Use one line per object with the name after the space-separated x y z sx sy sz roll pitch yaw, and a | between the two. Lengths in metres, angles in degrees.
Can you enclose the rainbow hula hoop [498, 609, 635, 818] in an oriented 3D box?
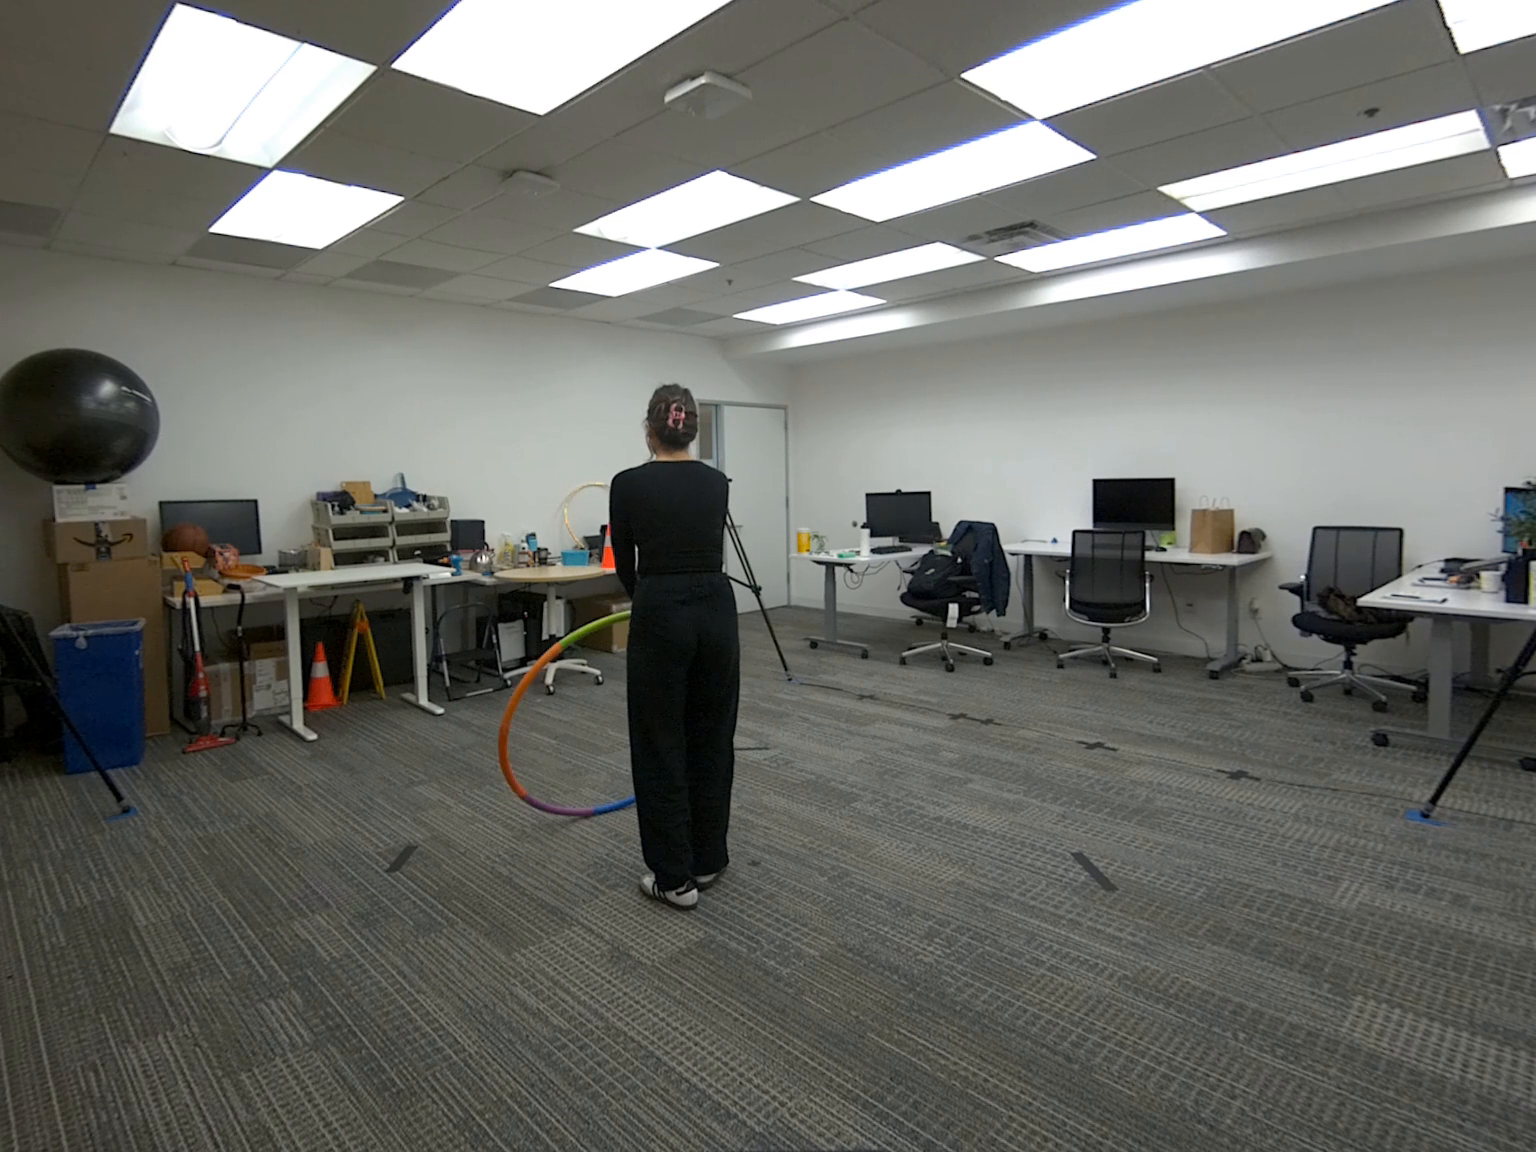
-0.600 0.563 3.437 0.955 0.964 0.037 -4 29 -32 | rainbow hula hoop
